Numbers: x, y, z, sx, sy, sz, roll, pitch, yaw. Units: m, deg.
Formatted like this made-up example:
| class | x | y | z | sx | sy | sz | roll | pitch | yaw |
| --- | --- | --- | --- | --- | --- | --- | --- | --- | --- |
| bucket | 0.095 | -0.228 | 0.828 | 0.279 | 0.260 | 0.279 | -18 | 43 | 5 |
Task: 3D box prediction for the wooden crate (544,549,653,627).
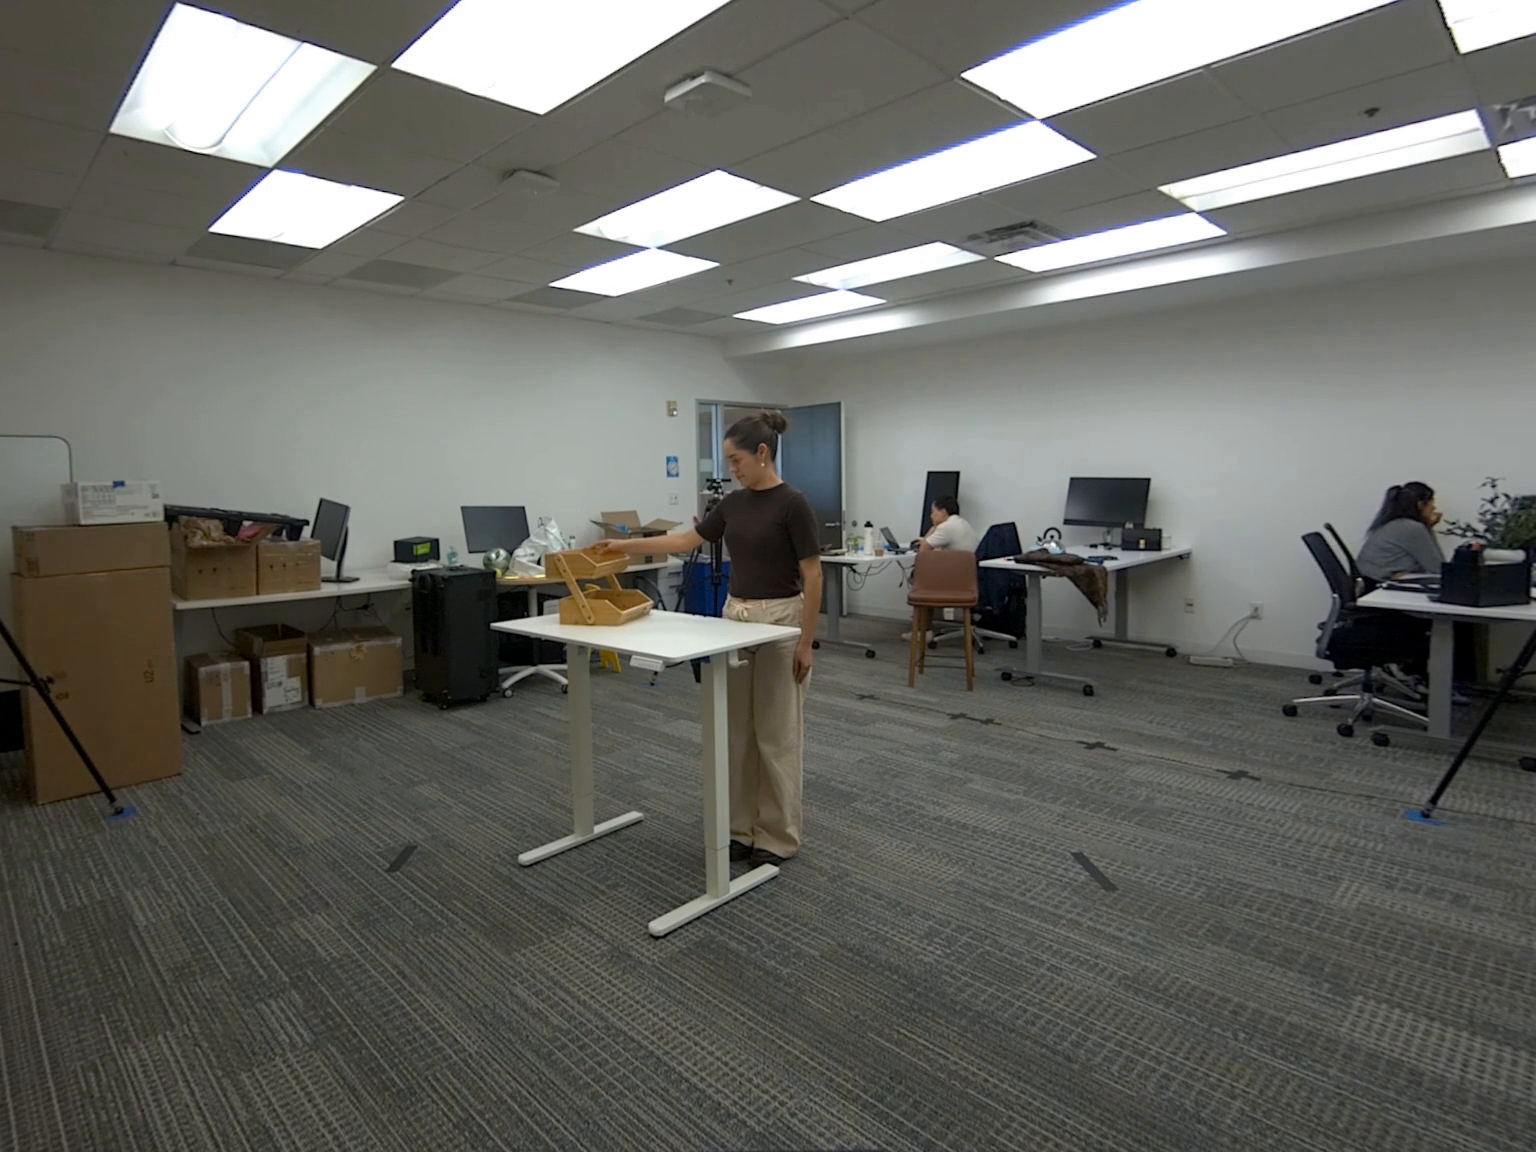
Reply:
| class | x | y | z | sx | sy | sz | roll | pitch | yaw |
| --- | --- | --- | --- | --- | --- | --- | --- | --- | --- |
| wooden crate | -0.621 | 0.029 | 3.215 | 0.307 | 0.272 | 0.321 | -1 | 5 | 16 |
